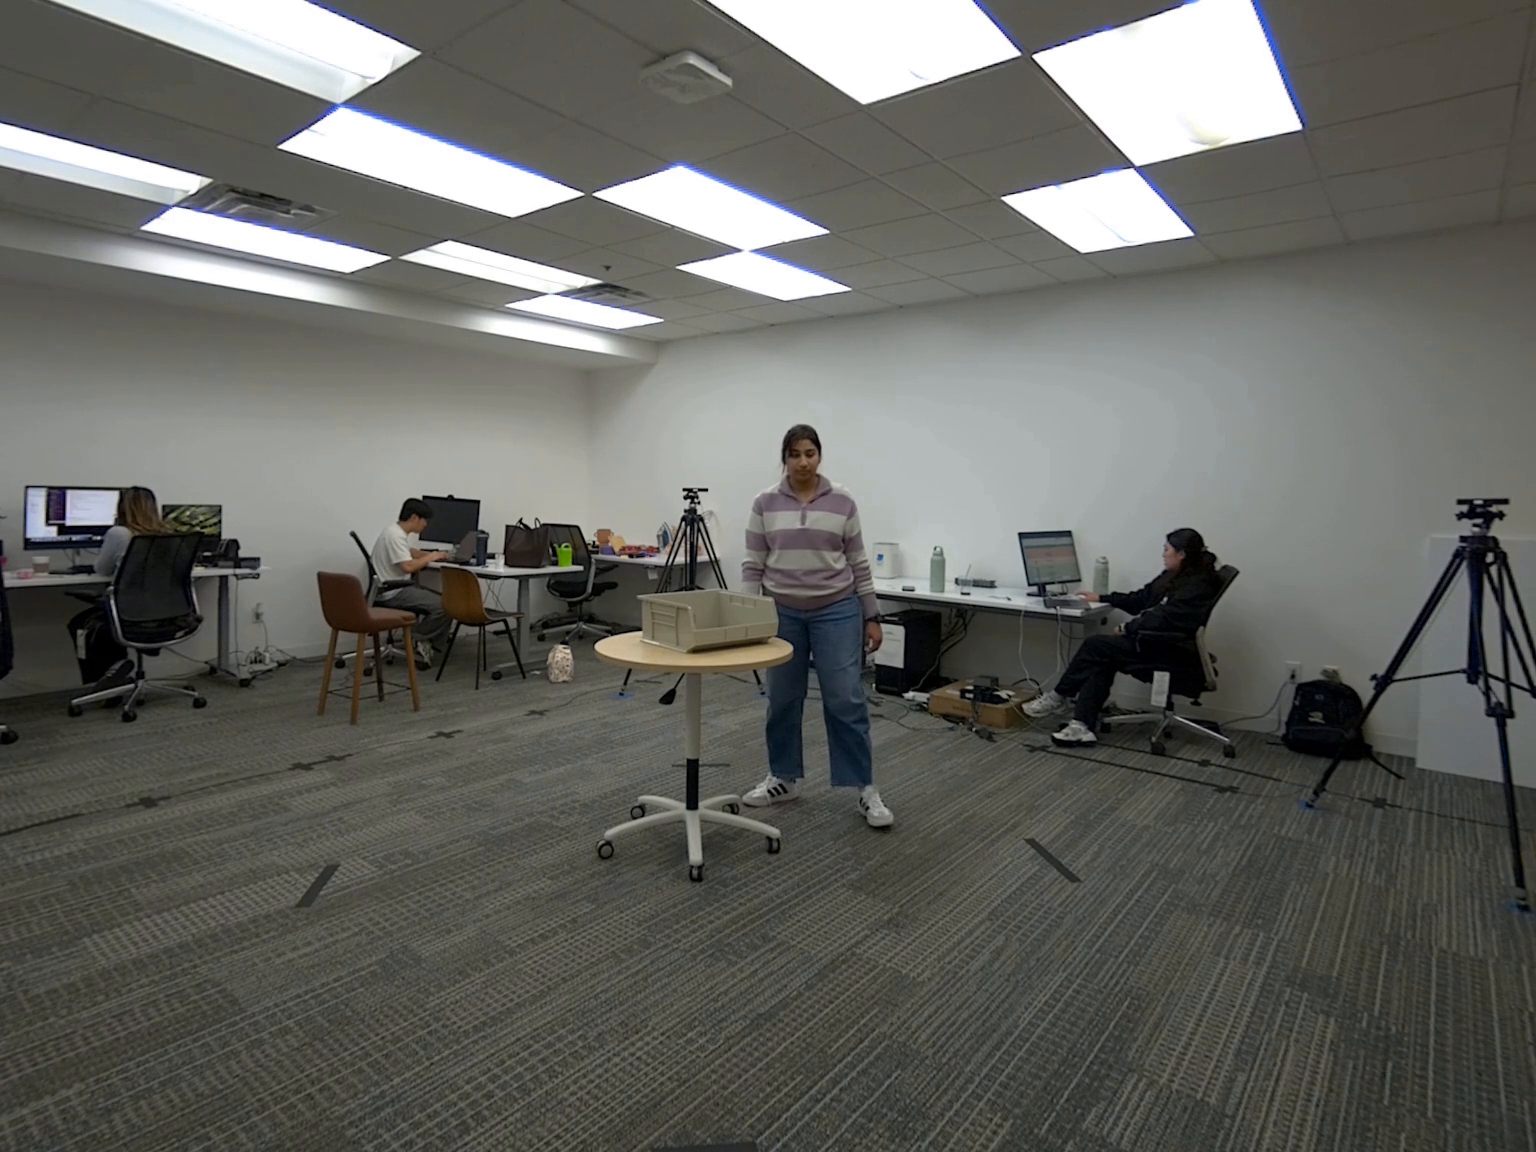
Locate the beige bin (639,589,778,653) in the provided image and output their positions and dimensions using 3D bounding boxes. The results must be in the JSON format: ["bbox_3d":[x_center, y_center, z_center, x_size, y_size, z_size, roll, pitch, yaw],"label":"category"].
[{"bbox_3d":[-0.249,0.172,3.358,0.410,0.188,0.390,-4,6,-40],"label":"beige bin"}]
